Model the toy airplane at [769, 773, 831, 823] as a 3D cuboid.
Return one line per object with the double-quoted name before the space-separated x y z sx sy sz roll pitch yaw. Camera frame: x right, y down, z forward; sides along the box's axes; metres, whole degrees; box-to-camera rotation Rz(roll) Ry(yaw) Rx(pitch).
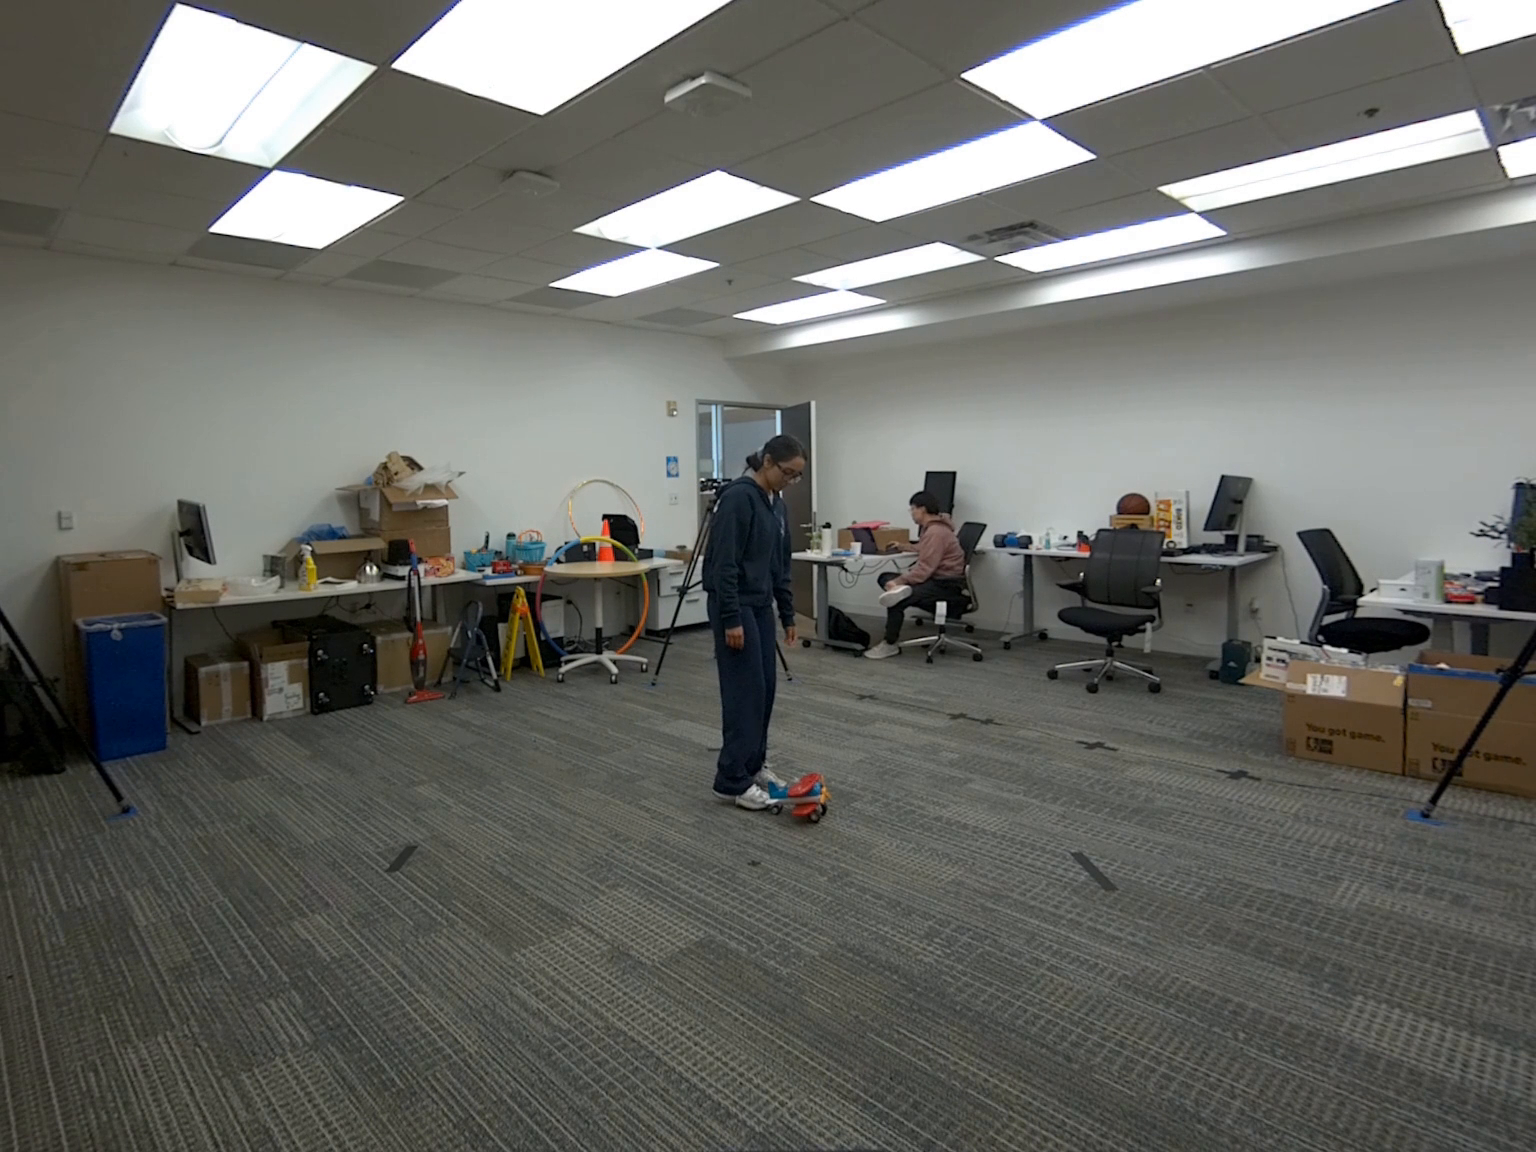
"toy airplane" 0.125 0.920 3.516 0.258 0.156 0.253 0 4 -5
